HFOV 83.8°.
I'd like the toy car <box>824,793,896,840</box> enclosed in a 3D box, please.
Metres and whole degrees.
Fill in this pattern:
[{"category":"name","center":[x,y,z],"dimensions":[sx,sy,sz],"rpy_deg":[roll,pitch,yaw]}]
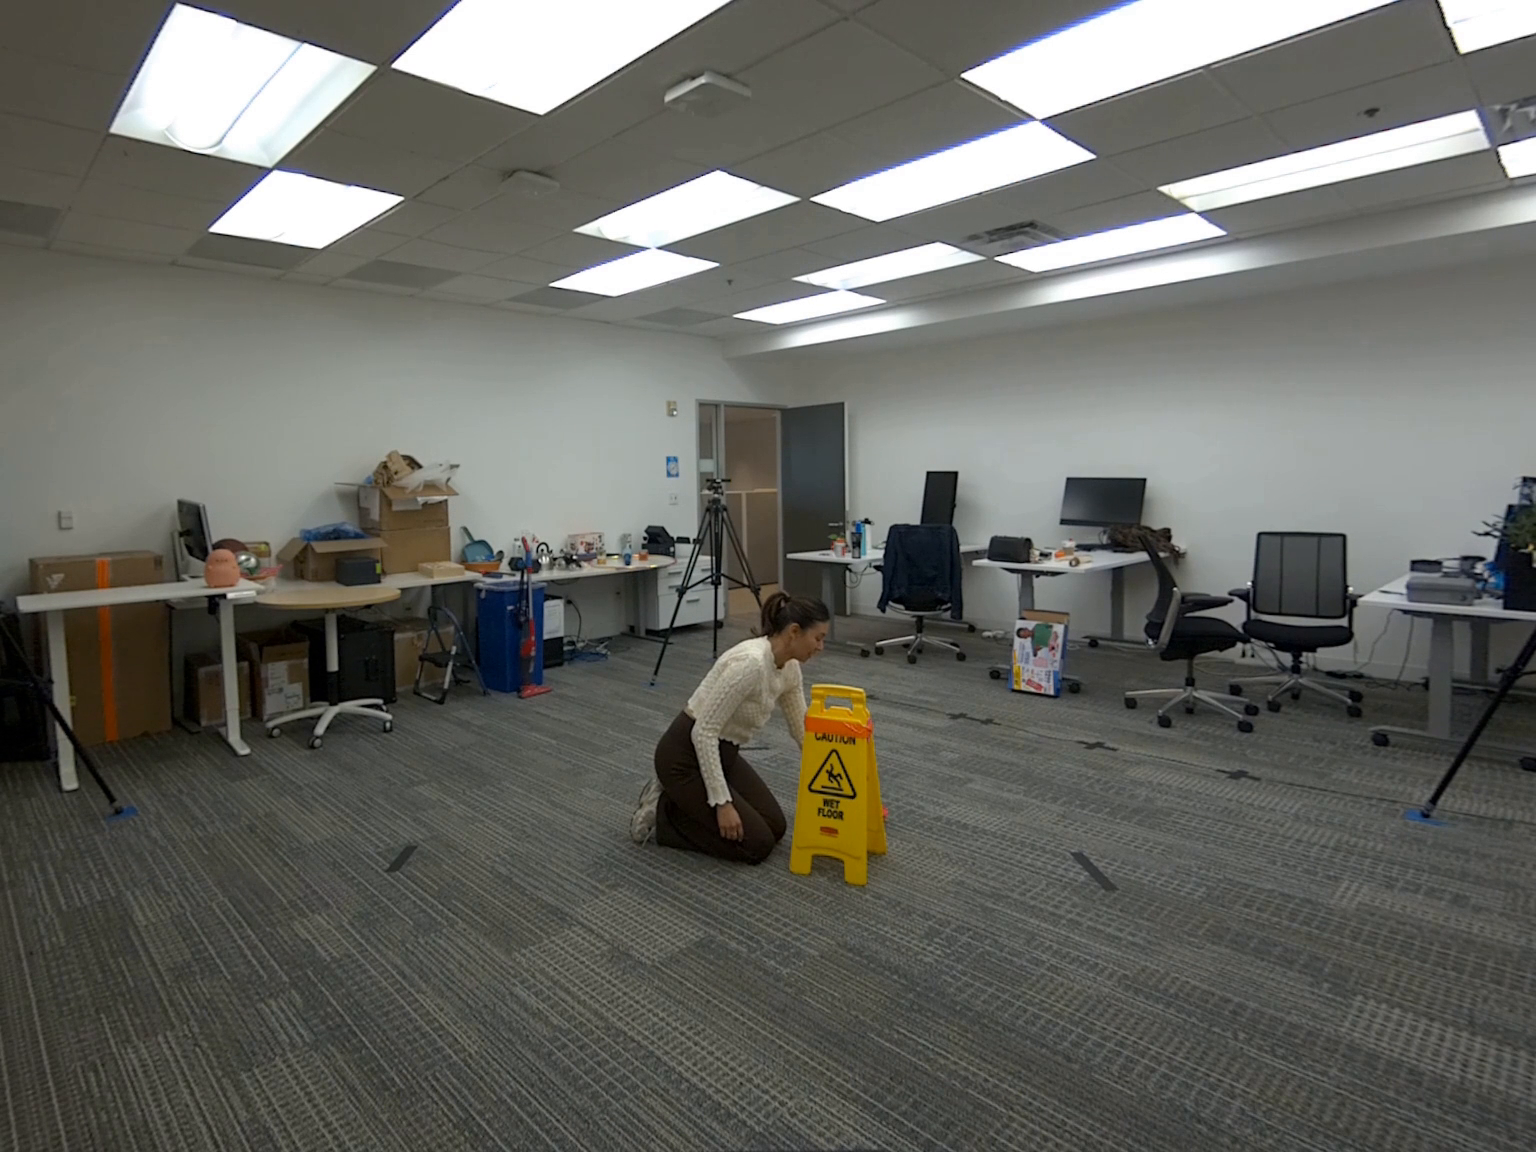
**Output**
[{"category":"toy car","center":[0.365,0.961,3.436],"dimensions":[0.255,0.083,0.131],"rpy_deg":[-12,7,2]}]
